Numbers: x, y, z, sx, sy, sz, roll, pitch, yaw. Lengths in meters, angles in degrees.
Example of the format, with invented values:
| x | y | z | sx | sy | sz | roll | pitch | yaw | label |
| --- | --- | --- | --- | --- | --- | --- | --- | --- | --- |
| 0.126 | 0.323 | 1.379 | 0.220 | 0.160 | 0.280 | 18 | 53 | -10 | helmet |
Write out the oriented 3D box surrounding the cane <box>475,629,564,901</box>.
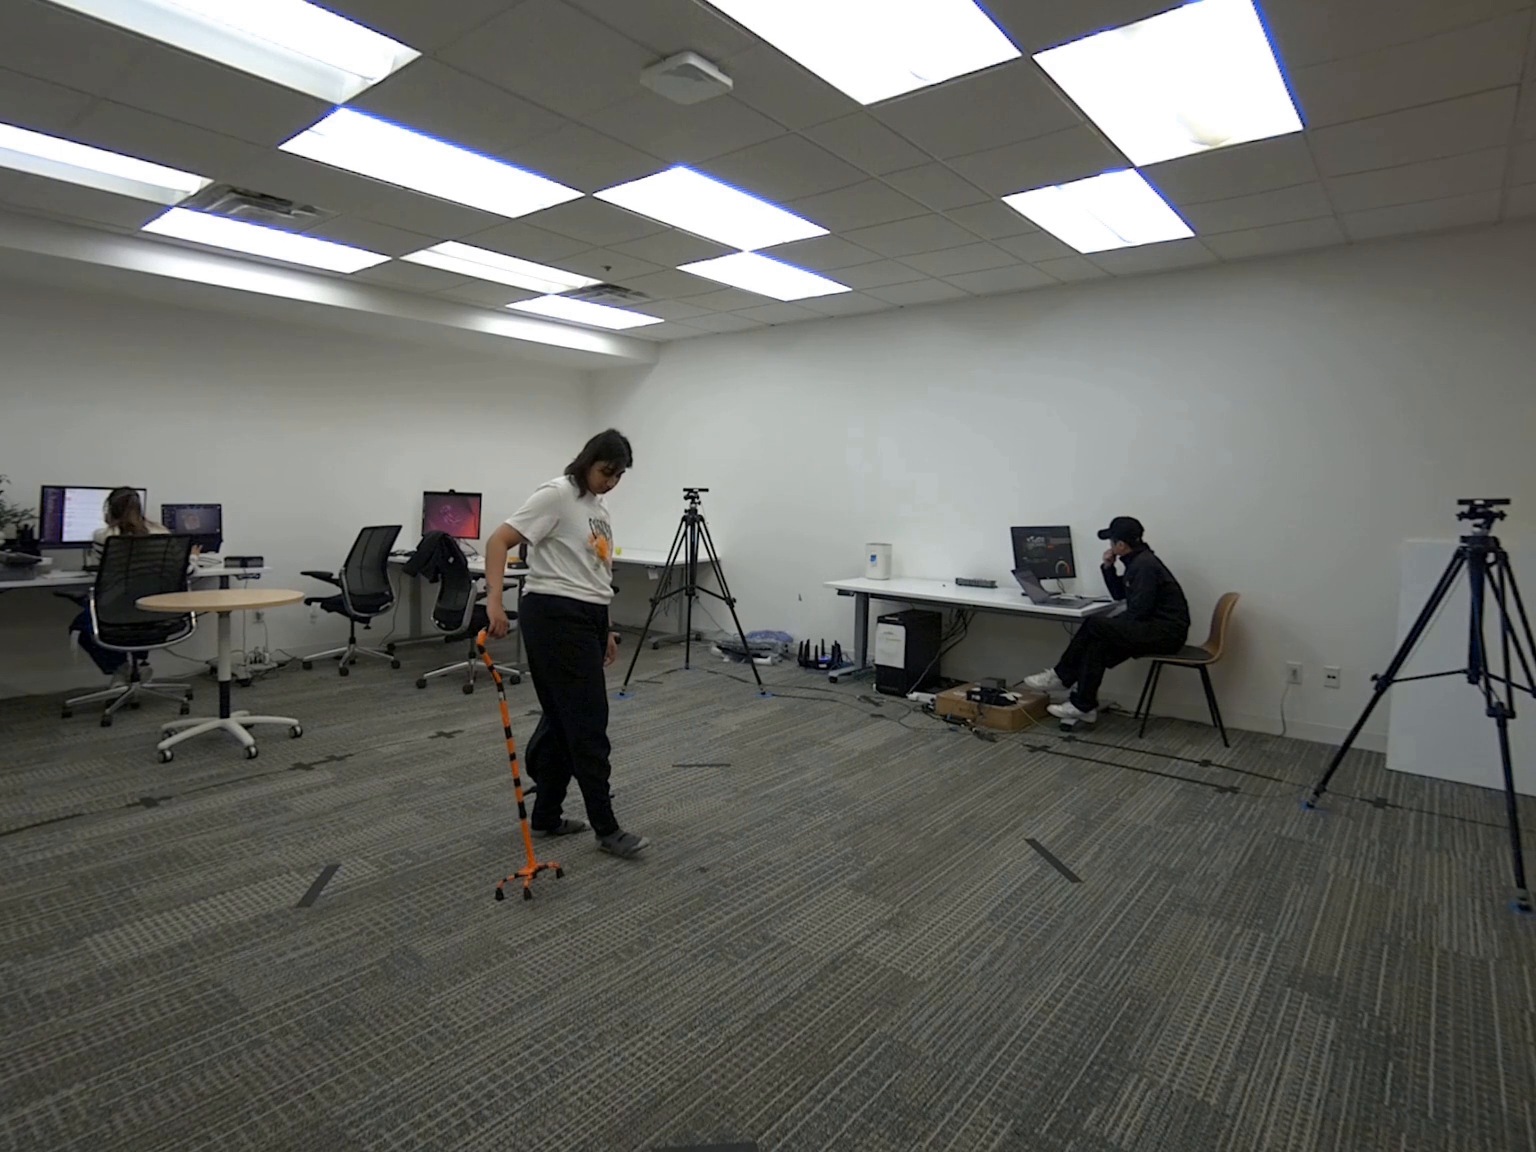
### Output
| x | y | z | sx | sy | sz | roll | pitch | yaw | label |
| --- | --- | --- | --- | --- | --- | --- | --- | --- | --- |
| -0.911 | 0.623 | 2.930 | 0.154 | 0.911 | 0.202 | -11 | -3 | 22 | cane |
